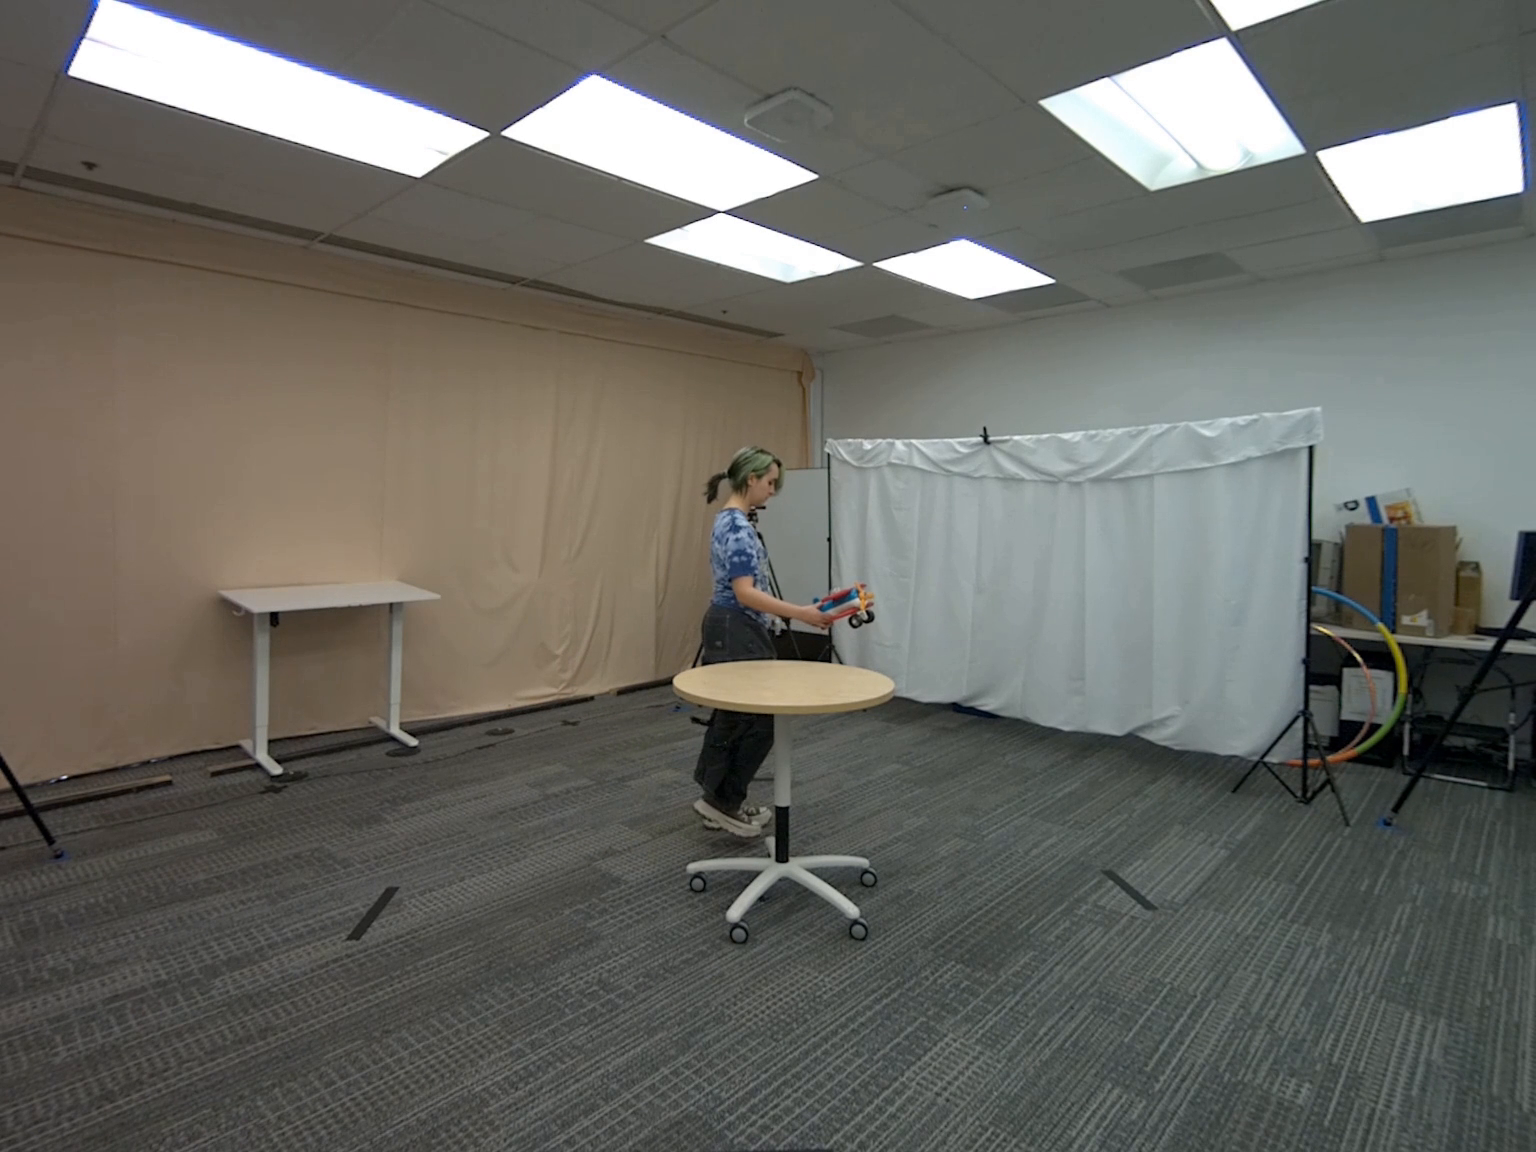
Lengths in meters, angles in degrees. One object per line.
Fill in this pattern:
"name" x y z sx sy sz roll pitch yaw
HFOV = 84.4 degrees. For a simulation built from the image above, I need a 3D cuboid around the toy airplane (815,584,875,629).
"toy airplane" 0.286 0.132 3.330 0.263 0.156 0.248 -10 4 16
